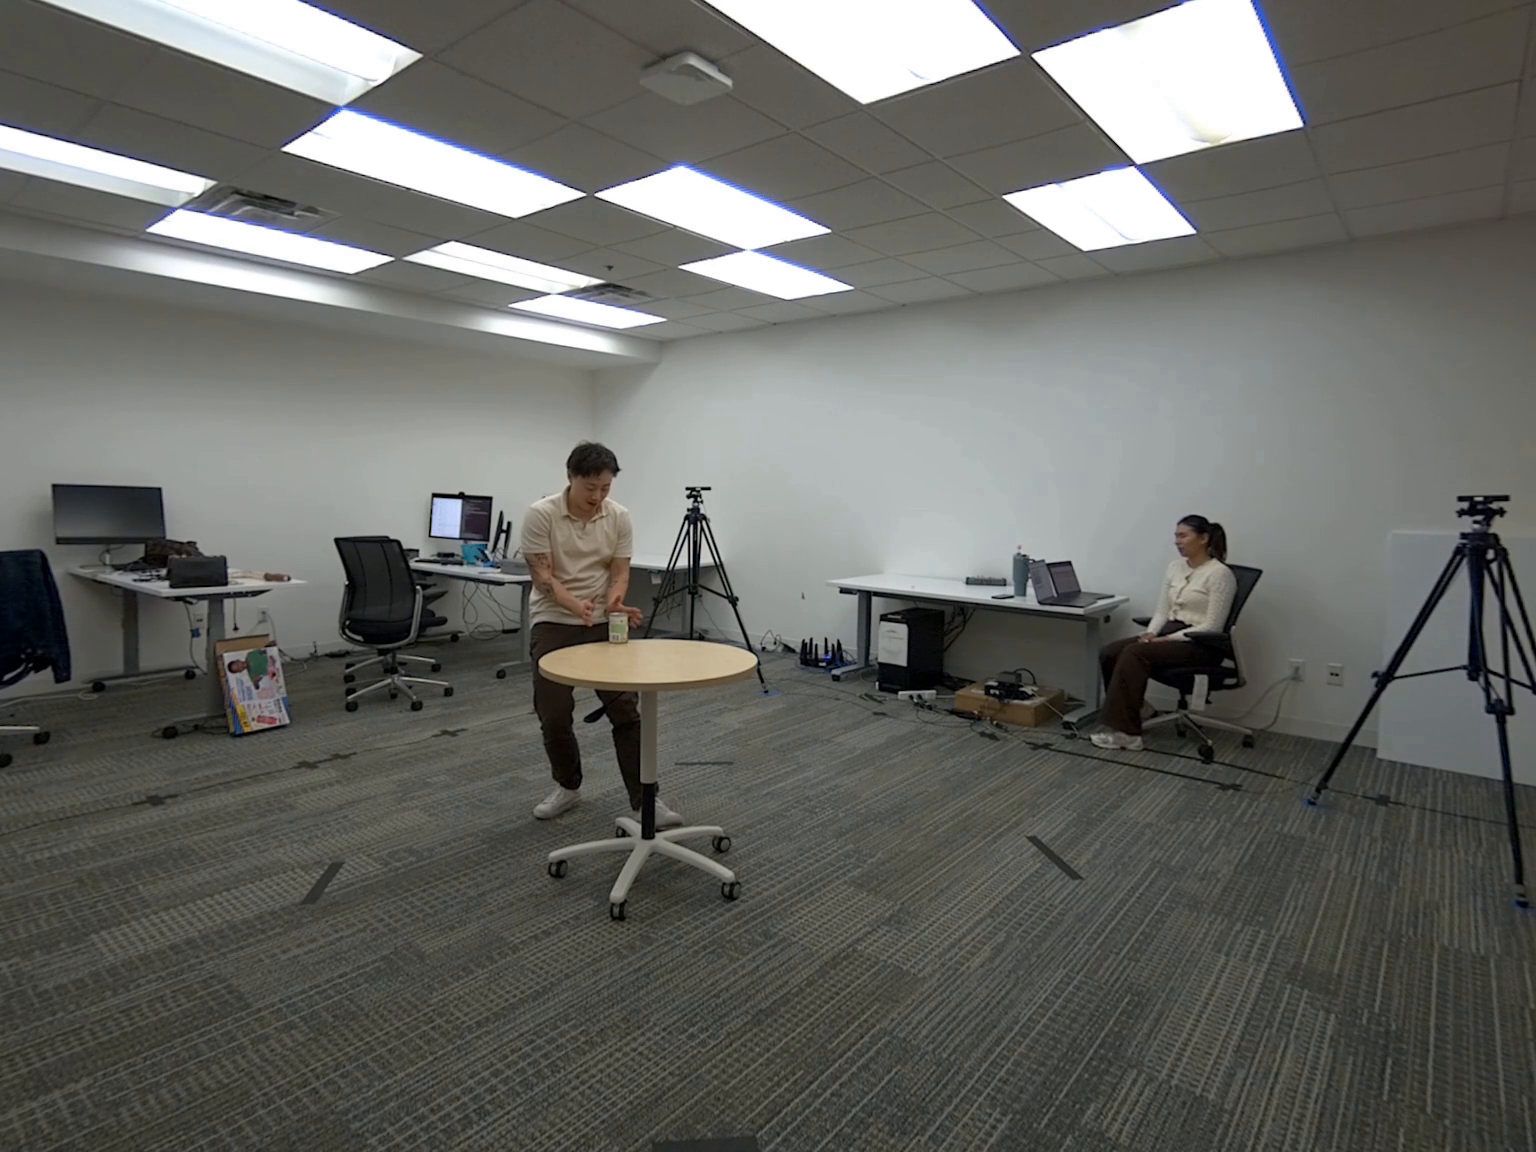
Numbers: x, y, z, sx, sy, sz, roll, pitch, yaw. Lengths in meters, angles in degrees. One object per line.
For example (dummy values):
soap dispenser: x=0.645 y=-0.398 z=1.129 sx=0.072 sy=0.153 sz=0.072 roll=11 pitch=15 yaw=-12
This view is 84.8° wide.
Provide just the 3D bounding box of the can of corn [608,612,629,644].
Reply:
can of corn: x=-0.594 y=0.204 z=3.312 sx=0.074 sy=0.111 sz=0.074 roll=-2 pitch=3 yaw=-2
